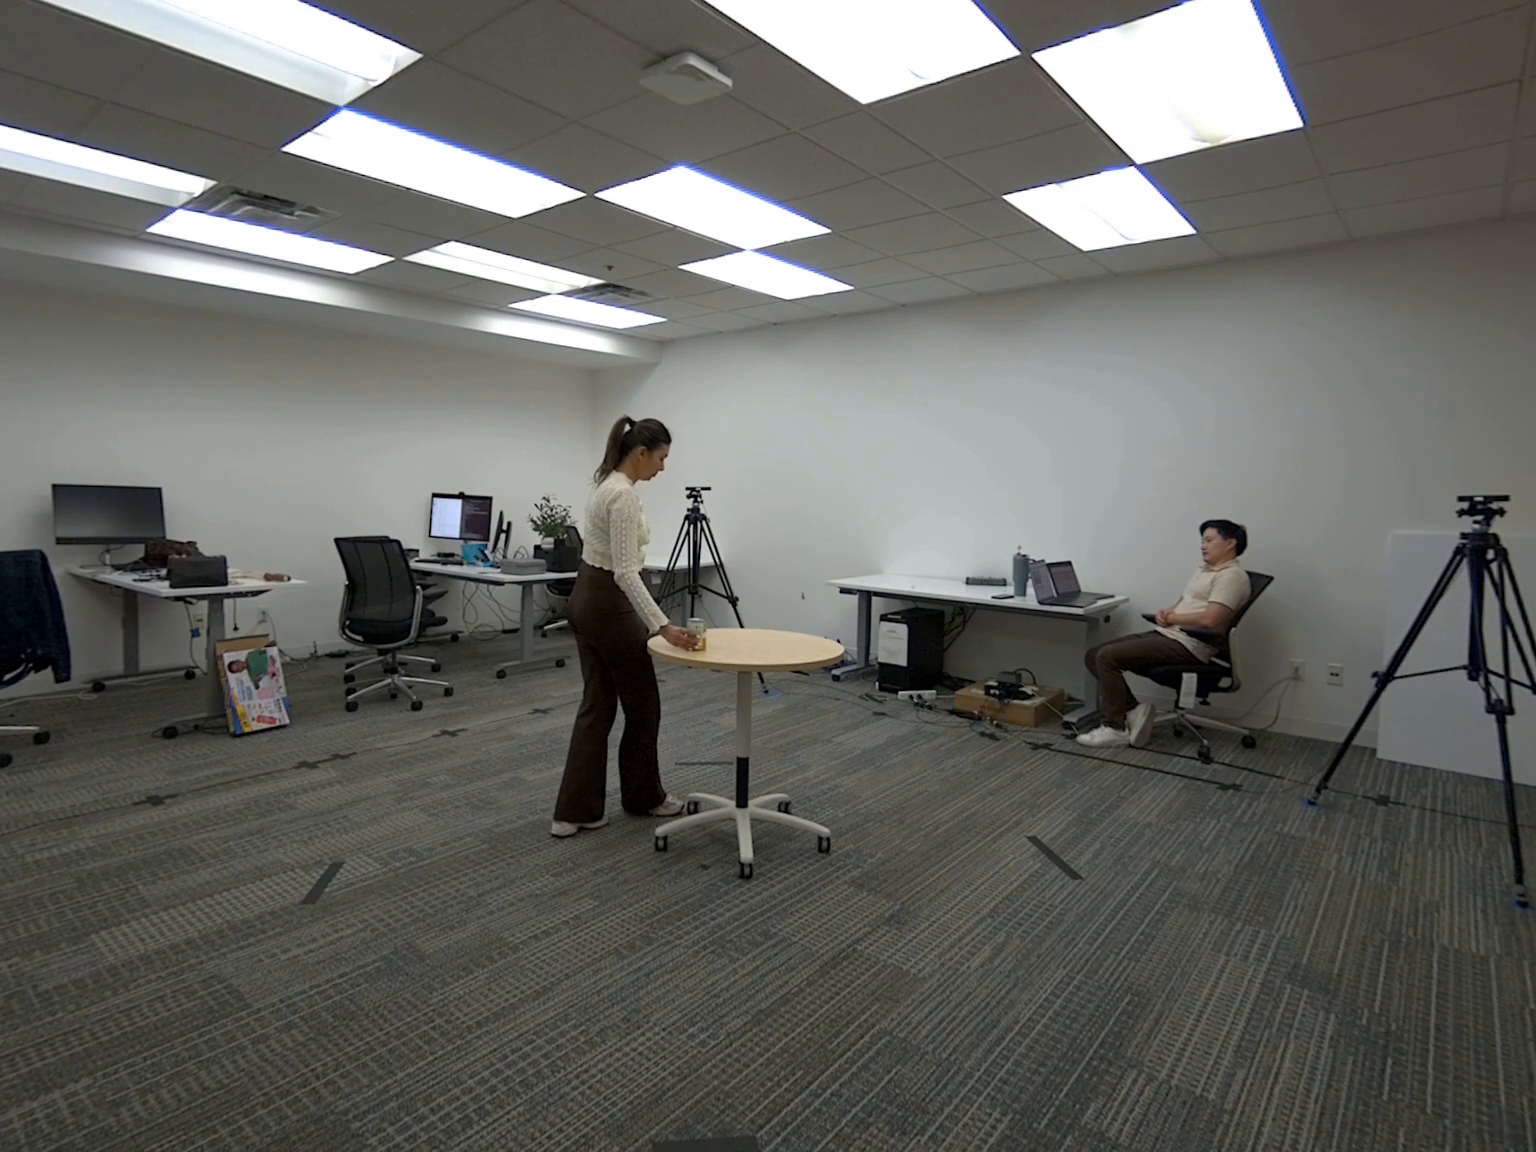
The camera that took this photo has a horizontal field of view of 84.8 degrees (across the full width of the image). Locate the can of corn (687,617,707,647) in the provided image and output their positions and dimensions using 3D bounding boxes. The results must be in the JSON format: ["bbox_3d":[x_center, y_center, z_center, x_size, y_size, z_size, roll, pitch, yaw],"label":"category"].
[{"bbox_3d":[-0.279,0.217,3.181,0.074,0.111,0.074,-3,3,-2],"label":"can of corn"}]
